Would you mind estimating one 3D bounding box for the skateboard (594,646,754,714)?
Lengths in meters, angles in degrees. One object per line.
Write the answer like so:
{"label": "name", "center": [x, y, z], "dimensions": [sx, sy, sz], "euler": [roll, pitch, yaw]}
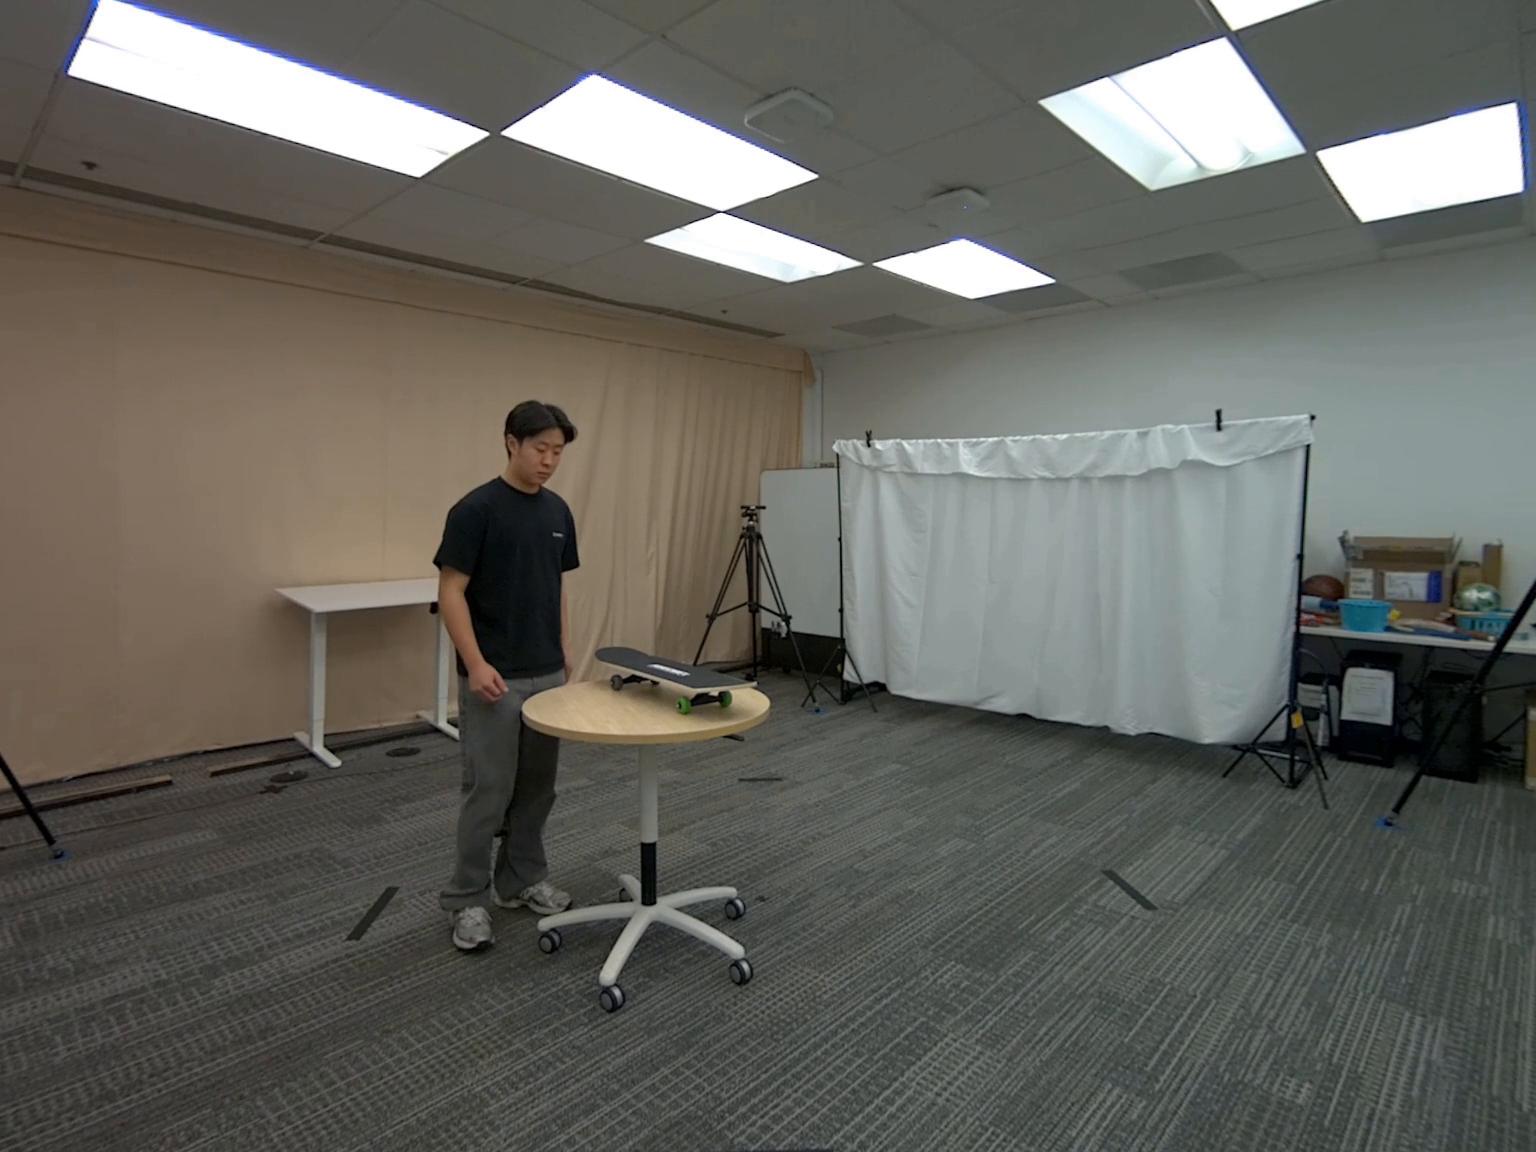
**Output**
{"label": "skateboard", "center": [-0.314, 0.338, 2.699], "dimensions": [0.188, 0.110, 0.811], "euler": [-3, 5, -38]}
